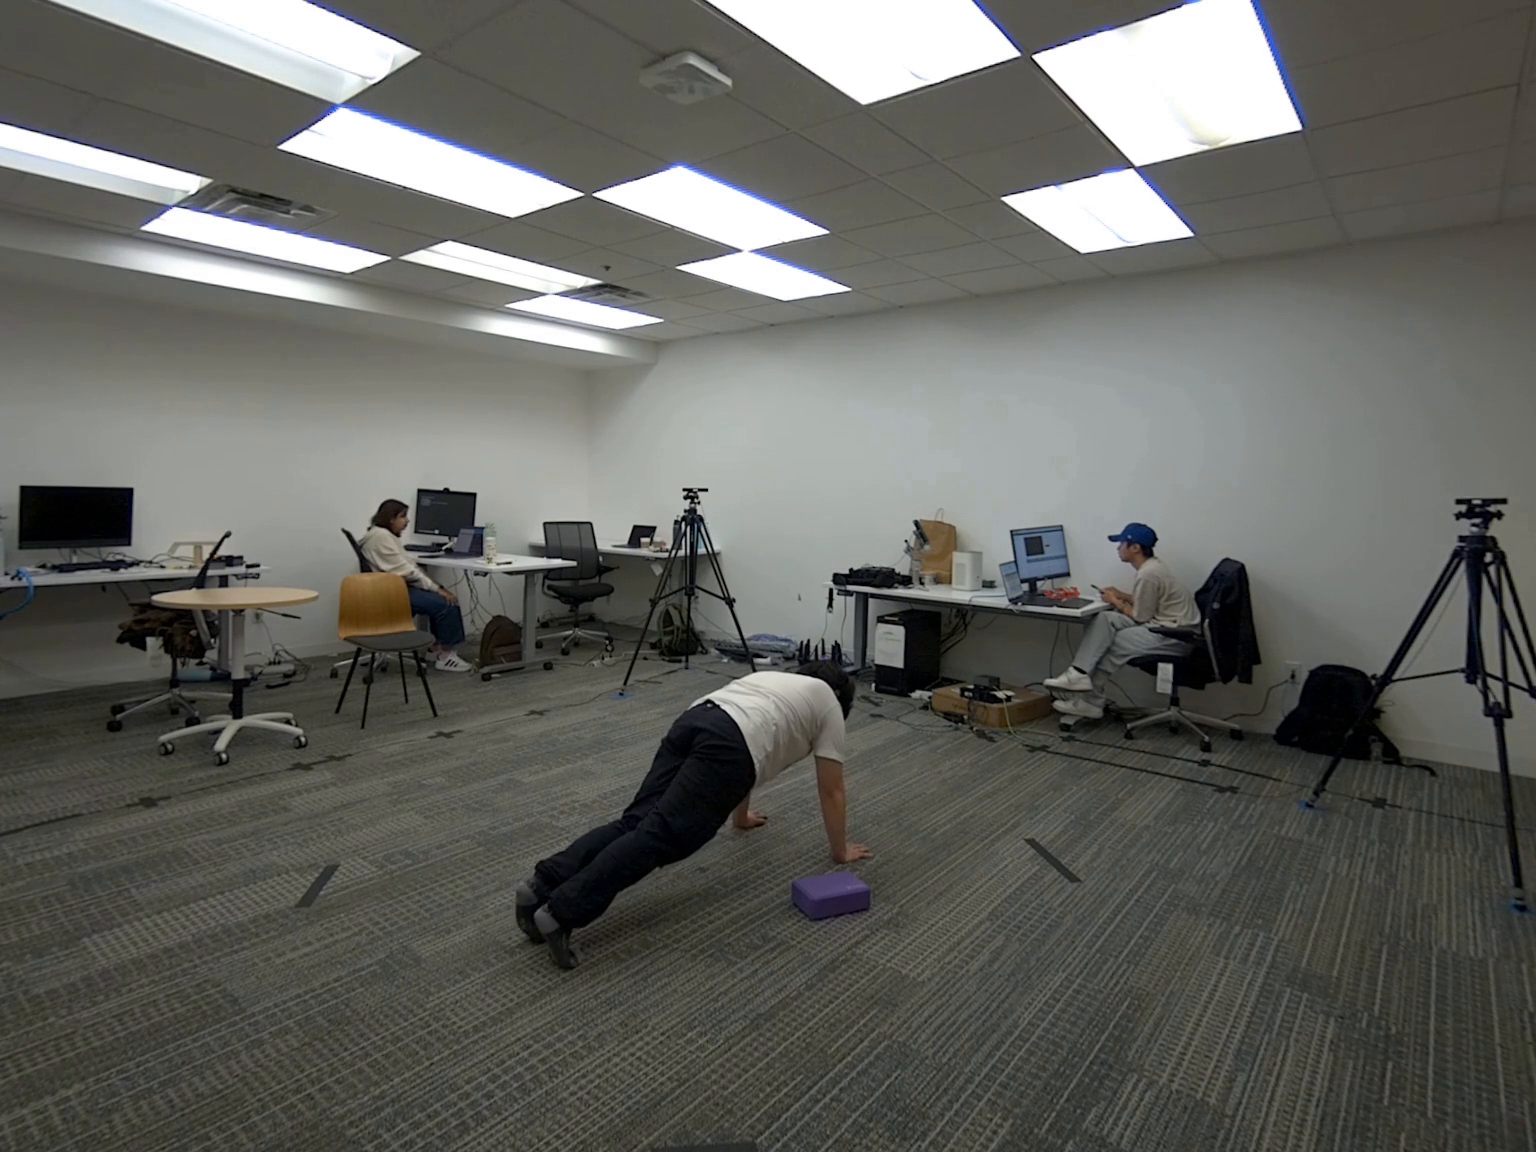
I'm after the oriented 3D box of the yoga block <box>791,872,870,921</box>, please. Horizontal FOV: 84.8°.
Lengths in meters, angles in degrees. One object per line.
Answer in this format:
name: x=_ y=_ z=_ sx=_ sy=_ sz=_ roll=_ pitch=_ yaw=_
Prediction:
yoga block: x=0.201 y=1.063 z=2.852 sx=0.224 sy=0.076 sz=0.153 roll=0 pitch=4 yaw=-23
